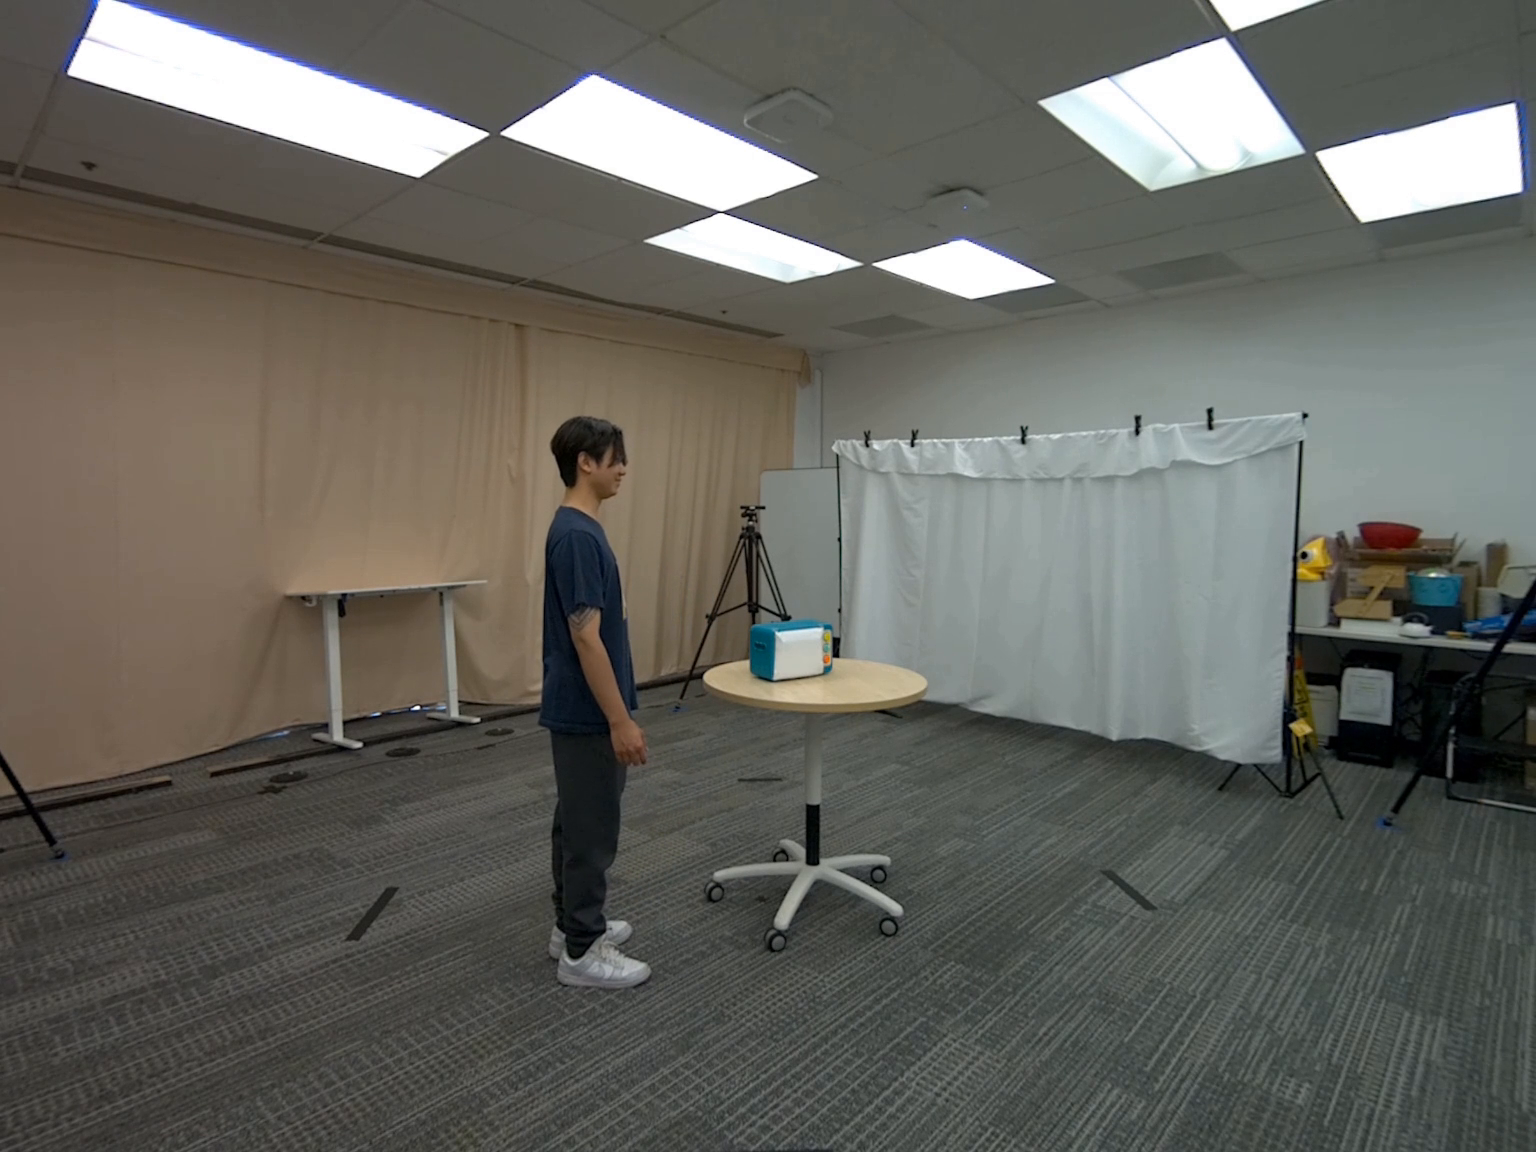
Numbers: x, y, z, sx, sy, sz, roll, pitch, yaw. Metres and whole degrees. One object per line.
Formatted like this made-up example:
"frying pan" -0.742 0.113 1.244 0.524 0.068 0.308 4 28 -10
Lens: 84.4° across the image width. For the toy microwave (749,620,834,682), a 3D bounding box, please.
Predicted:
"toy microwave" 0.090 0.257 2.931 0.278 0.184 0.157 -2 4 -34
